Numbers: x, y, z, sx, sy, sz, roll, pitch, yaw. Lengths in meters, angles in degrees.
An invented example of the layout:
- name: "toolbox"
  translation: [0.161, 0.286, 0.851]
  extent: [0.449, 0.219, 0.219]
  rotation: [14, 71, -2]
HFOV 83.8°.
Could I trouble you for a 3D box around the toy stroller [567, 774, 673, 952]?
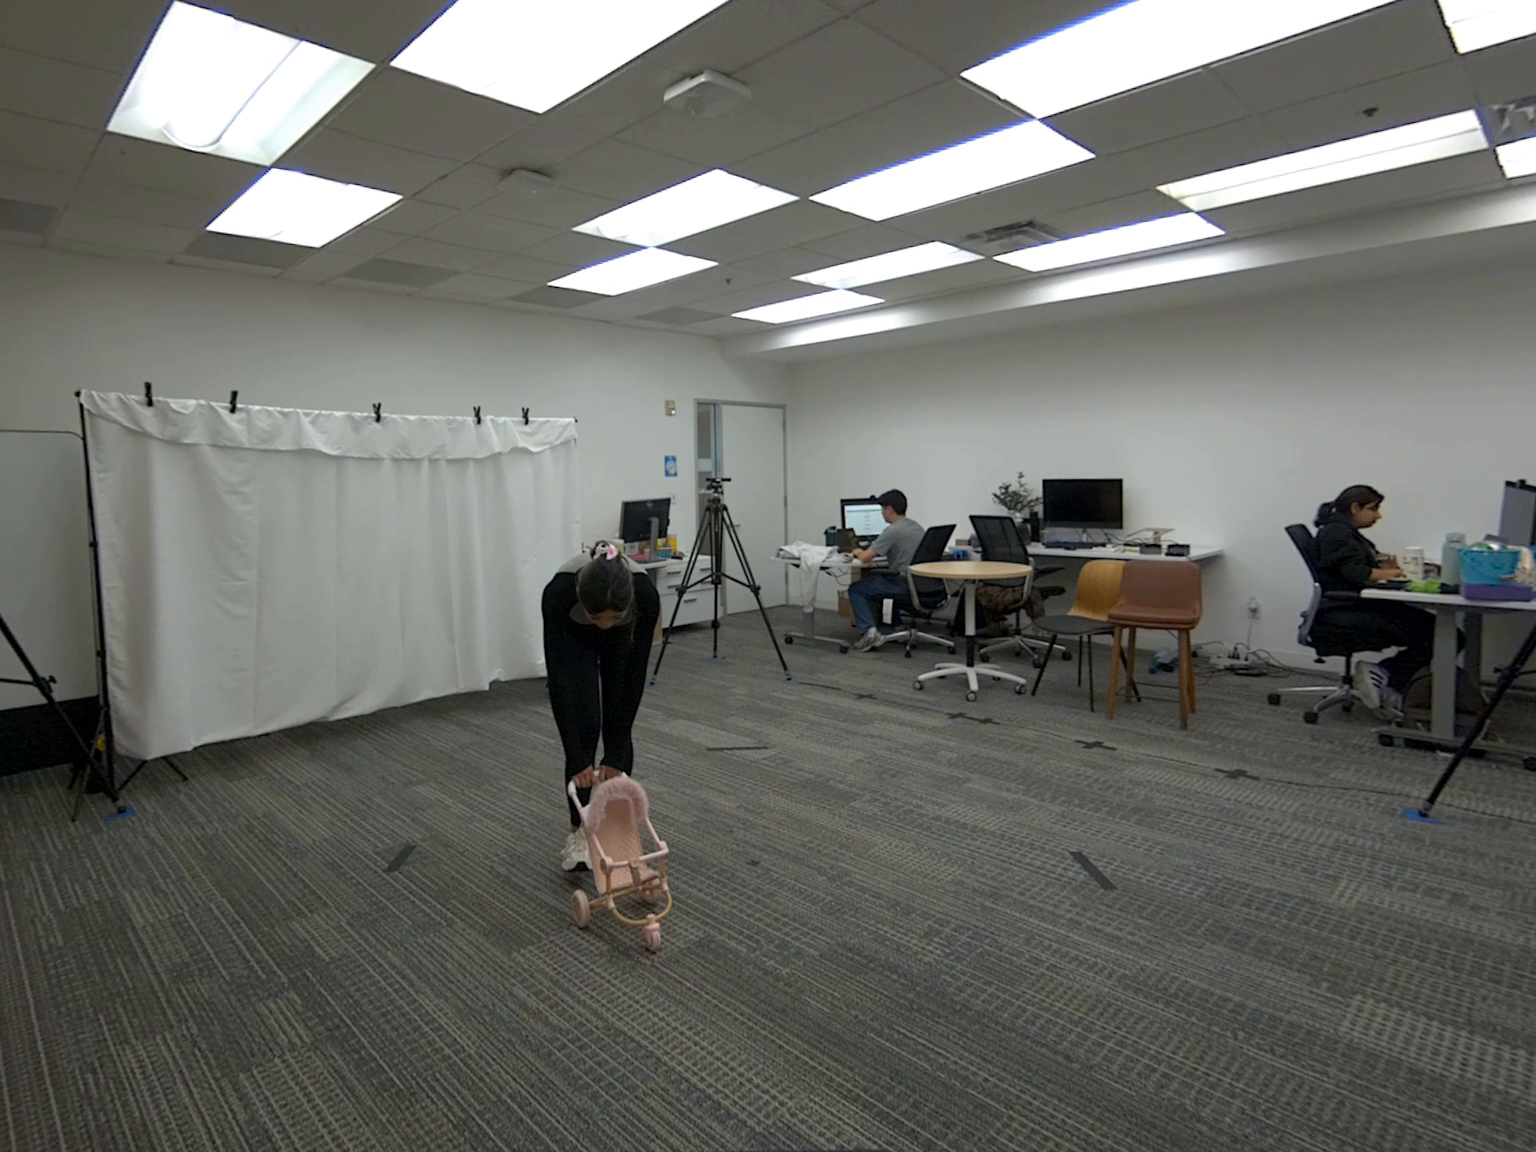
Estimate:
- name: "toy stroller"
  translation: [-0.457, 0.873, 2.700]
  extent: [0.275, 0.541, 0.345]
  rotation: [-4, -12, -30]
